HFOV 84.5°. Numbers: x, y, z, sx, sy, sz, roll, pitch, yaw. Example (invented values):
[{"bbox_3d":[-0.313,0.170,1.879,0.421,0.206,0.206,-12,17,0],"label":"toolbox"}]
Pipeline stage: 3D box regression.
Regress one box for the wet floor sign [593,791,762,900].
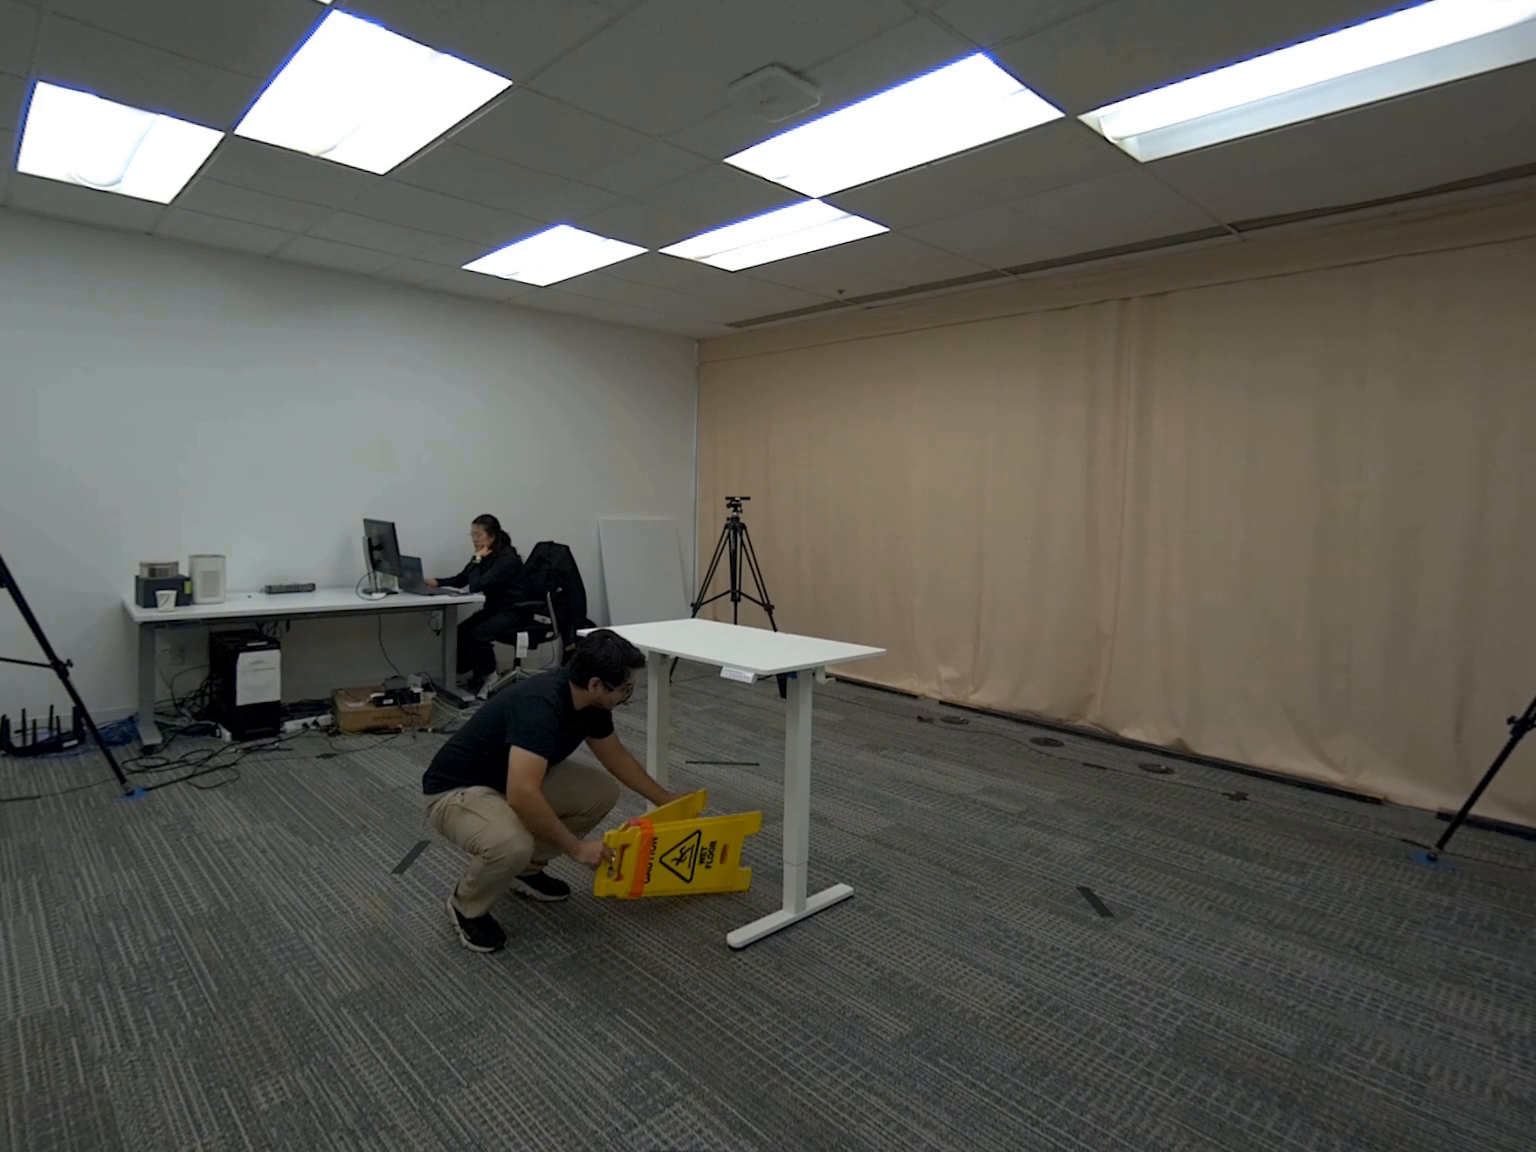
[{"bbox_3d":[-0.337,0.921,2.839,0.297,0.283,0.628,9,-3,36],"label":"wet floor sign"}]
